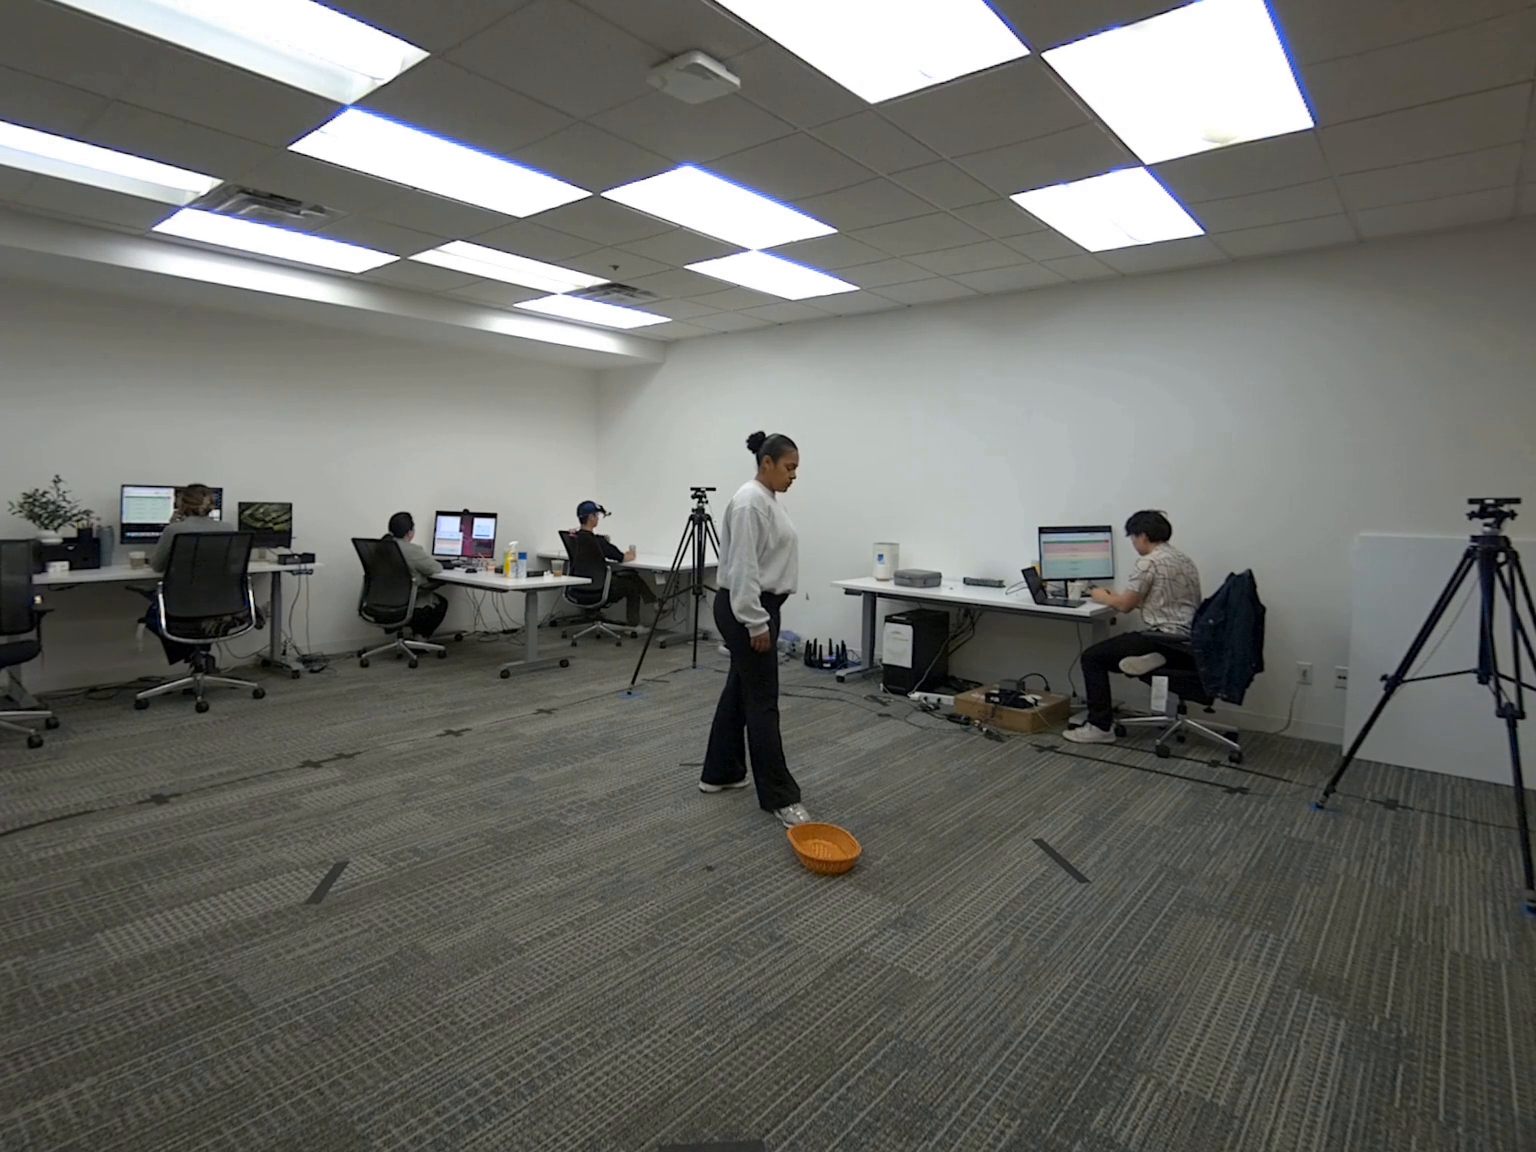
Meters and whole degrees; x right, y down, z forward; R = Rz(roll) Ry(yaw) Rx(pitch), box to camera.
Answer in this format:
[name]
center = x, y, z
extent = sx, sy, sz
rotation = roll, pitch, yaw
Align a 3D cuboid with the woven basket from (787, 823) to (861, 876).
[woven basket]
center = 0.198, 1.022, 3.215
extent = 0.250, 0.073, 0.355
rotation = 1, 6, -11
